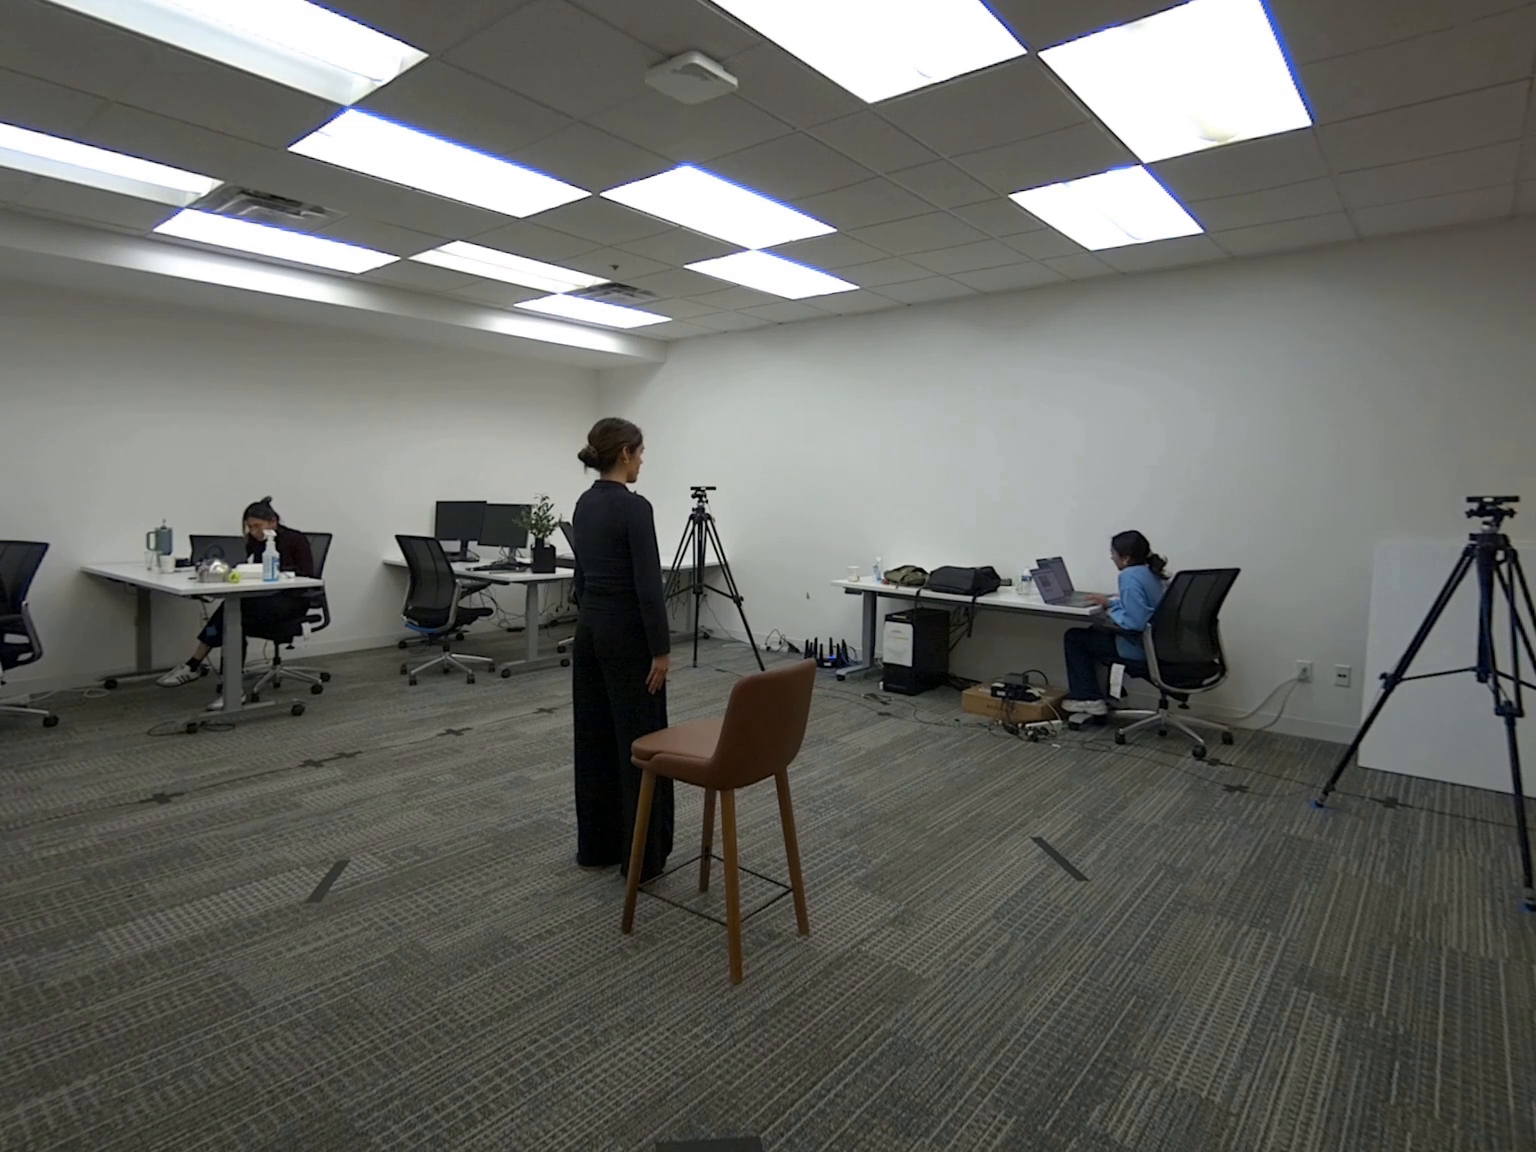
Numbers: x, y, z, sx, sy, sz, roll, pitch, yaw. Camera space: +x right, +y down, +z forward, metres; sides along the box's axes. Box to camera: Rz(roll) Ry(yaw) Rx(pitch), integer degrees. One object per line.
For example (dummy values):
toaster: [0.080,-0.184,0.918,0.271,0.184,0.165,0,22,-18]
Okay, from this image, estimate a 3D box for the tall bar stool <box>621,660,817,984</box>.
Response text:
tall bar stool: [-0.150,0.678,2.629,0.483,0.886,0.443,6,6,37]
